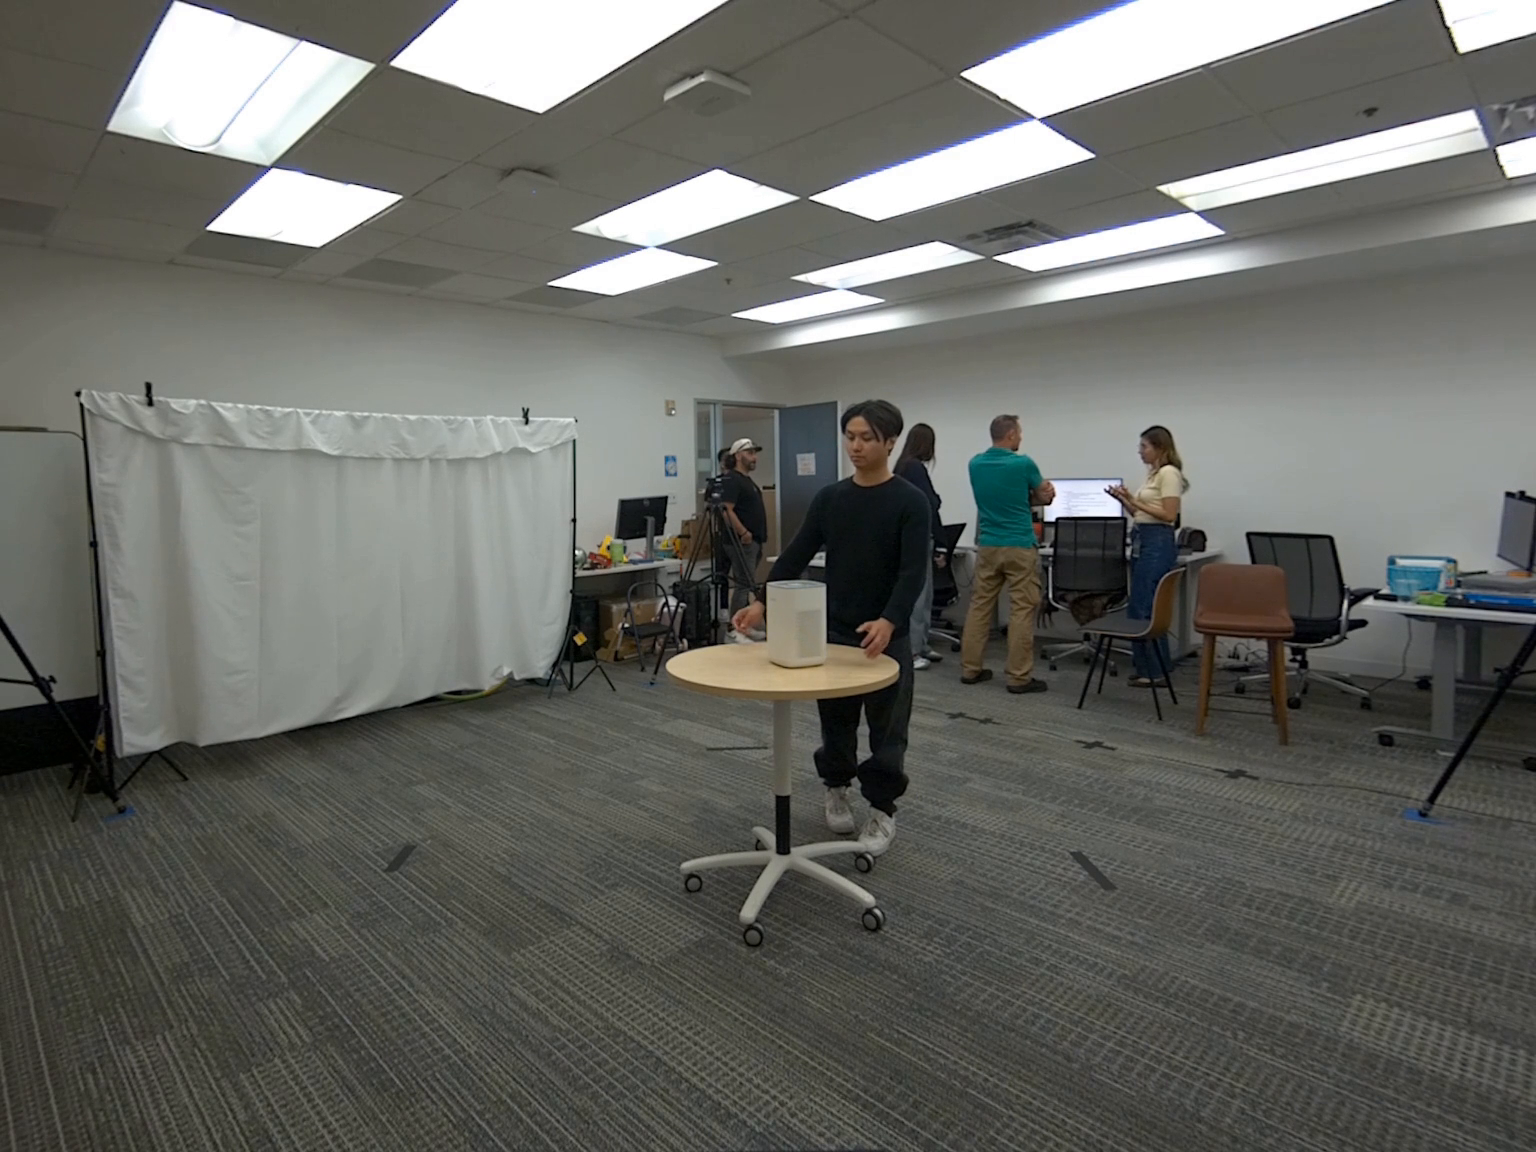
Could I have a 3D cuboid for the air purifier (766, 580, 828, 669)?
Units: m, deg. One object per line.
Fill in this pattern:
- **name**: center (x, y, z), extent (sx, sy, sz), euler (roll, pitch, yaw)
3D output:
- **air purifier**: center (0.098, 0.159, 2.814), extent (0.168, 0.264, 0.176), euler (-3, 6, -28)
